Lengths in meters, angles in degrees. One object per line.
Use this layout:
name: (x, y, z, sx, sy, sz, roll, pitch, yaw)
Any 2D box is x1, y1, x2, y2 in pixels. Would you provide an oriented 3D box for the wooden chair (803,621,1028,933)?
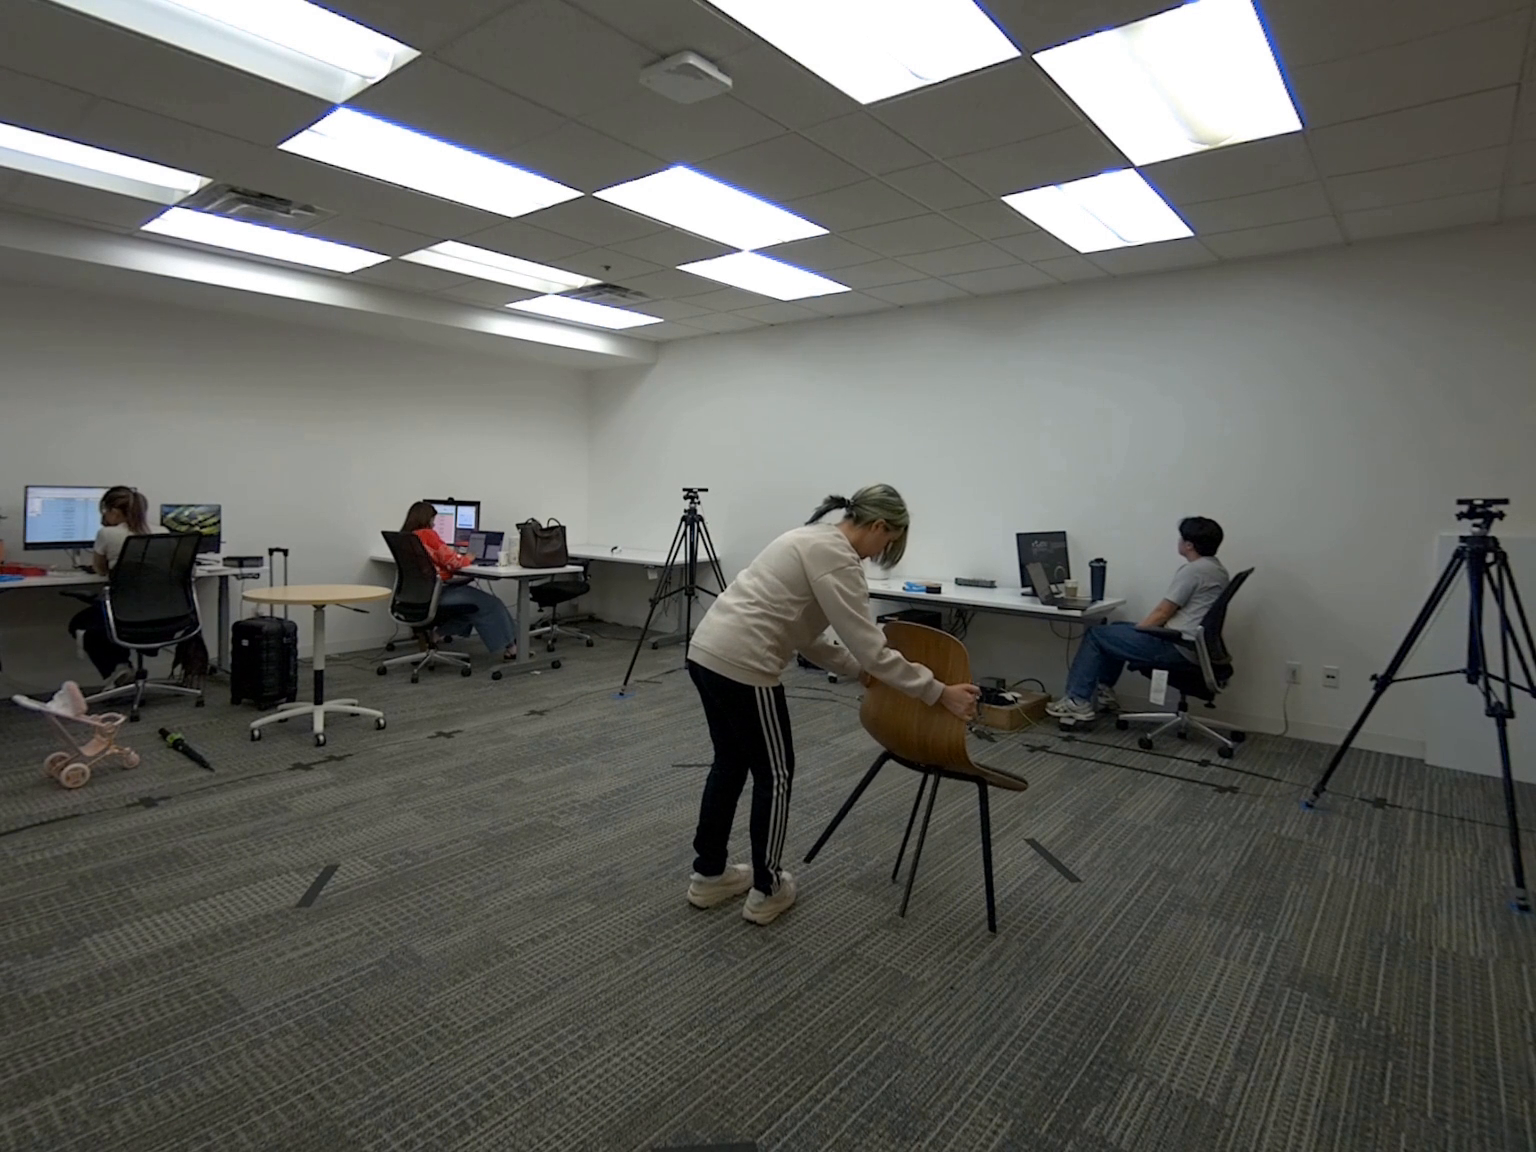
wooden chair: (0.545, 0.639, 2.822, 0.504, 0.881, 0.493, 18, -8, -35)
